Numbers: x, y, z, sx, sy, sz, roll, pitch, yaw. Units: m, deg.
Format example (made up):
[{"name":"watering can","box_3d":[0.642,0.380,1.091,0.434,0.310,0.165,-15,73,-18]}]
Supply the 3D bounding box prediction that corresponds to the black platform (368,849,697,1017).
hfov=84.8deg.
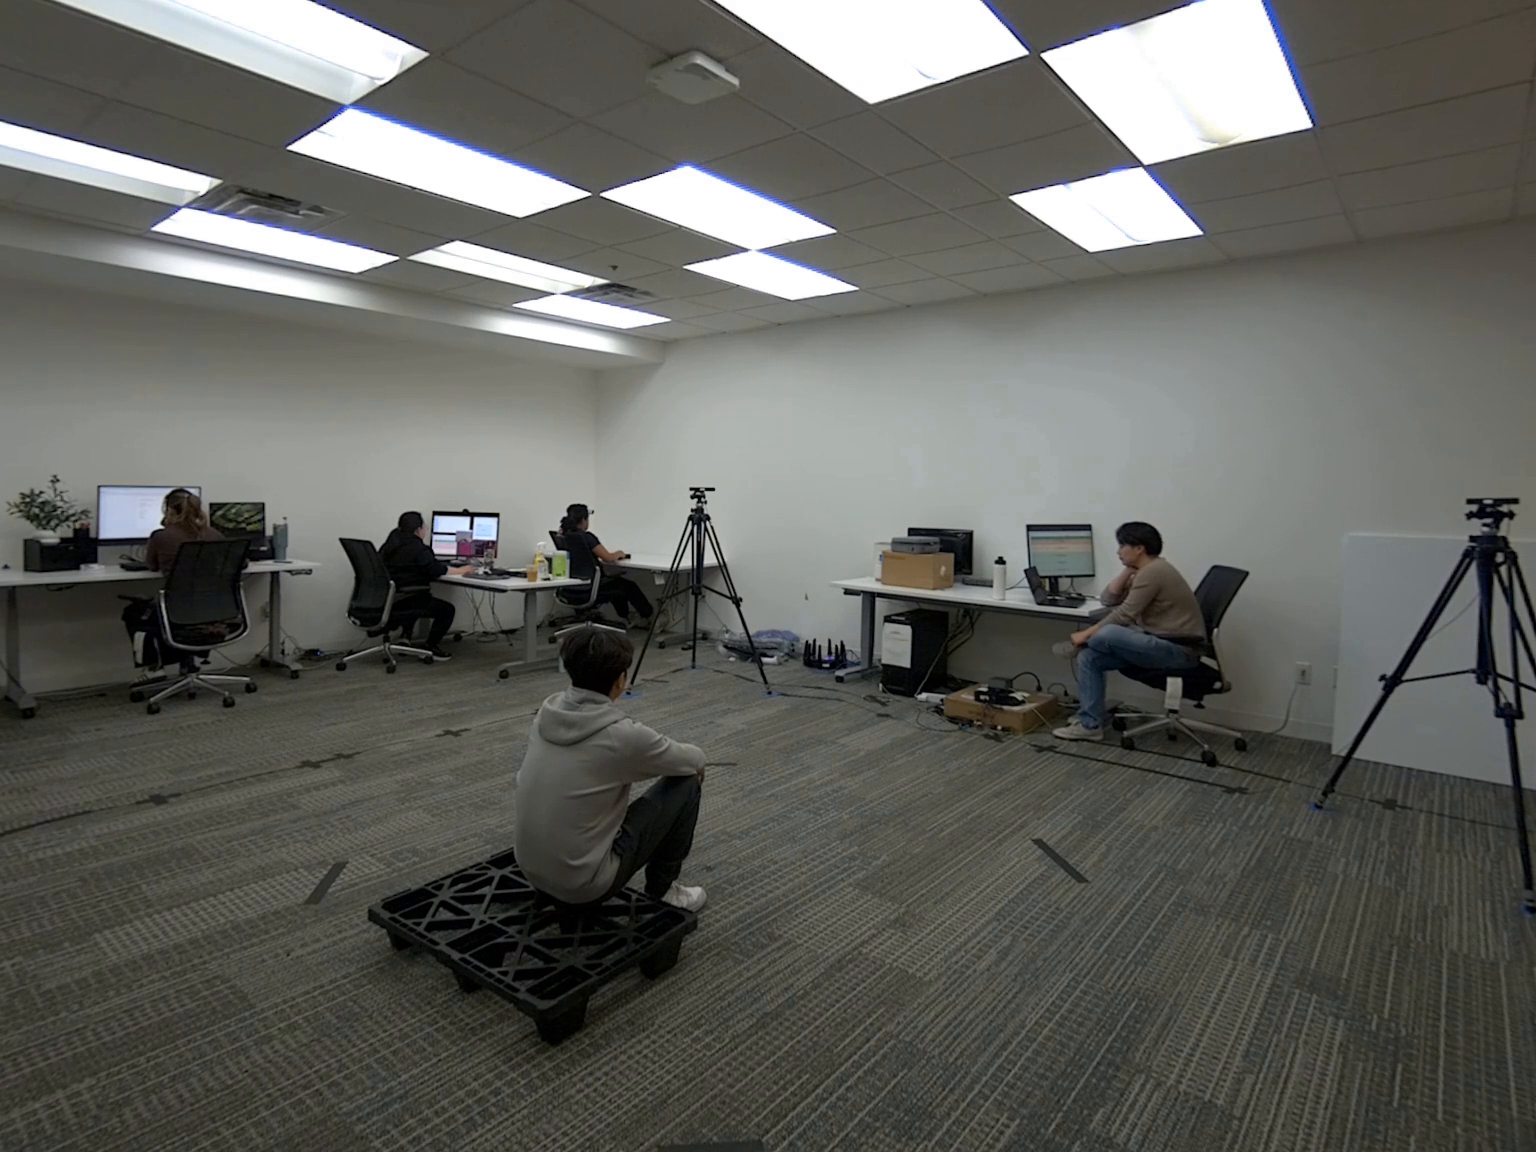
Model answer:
[{"name":"black platform","box_3d":[-0.707,1.051,2.517,0.832,0.143,0.588,5,6,36]}]
